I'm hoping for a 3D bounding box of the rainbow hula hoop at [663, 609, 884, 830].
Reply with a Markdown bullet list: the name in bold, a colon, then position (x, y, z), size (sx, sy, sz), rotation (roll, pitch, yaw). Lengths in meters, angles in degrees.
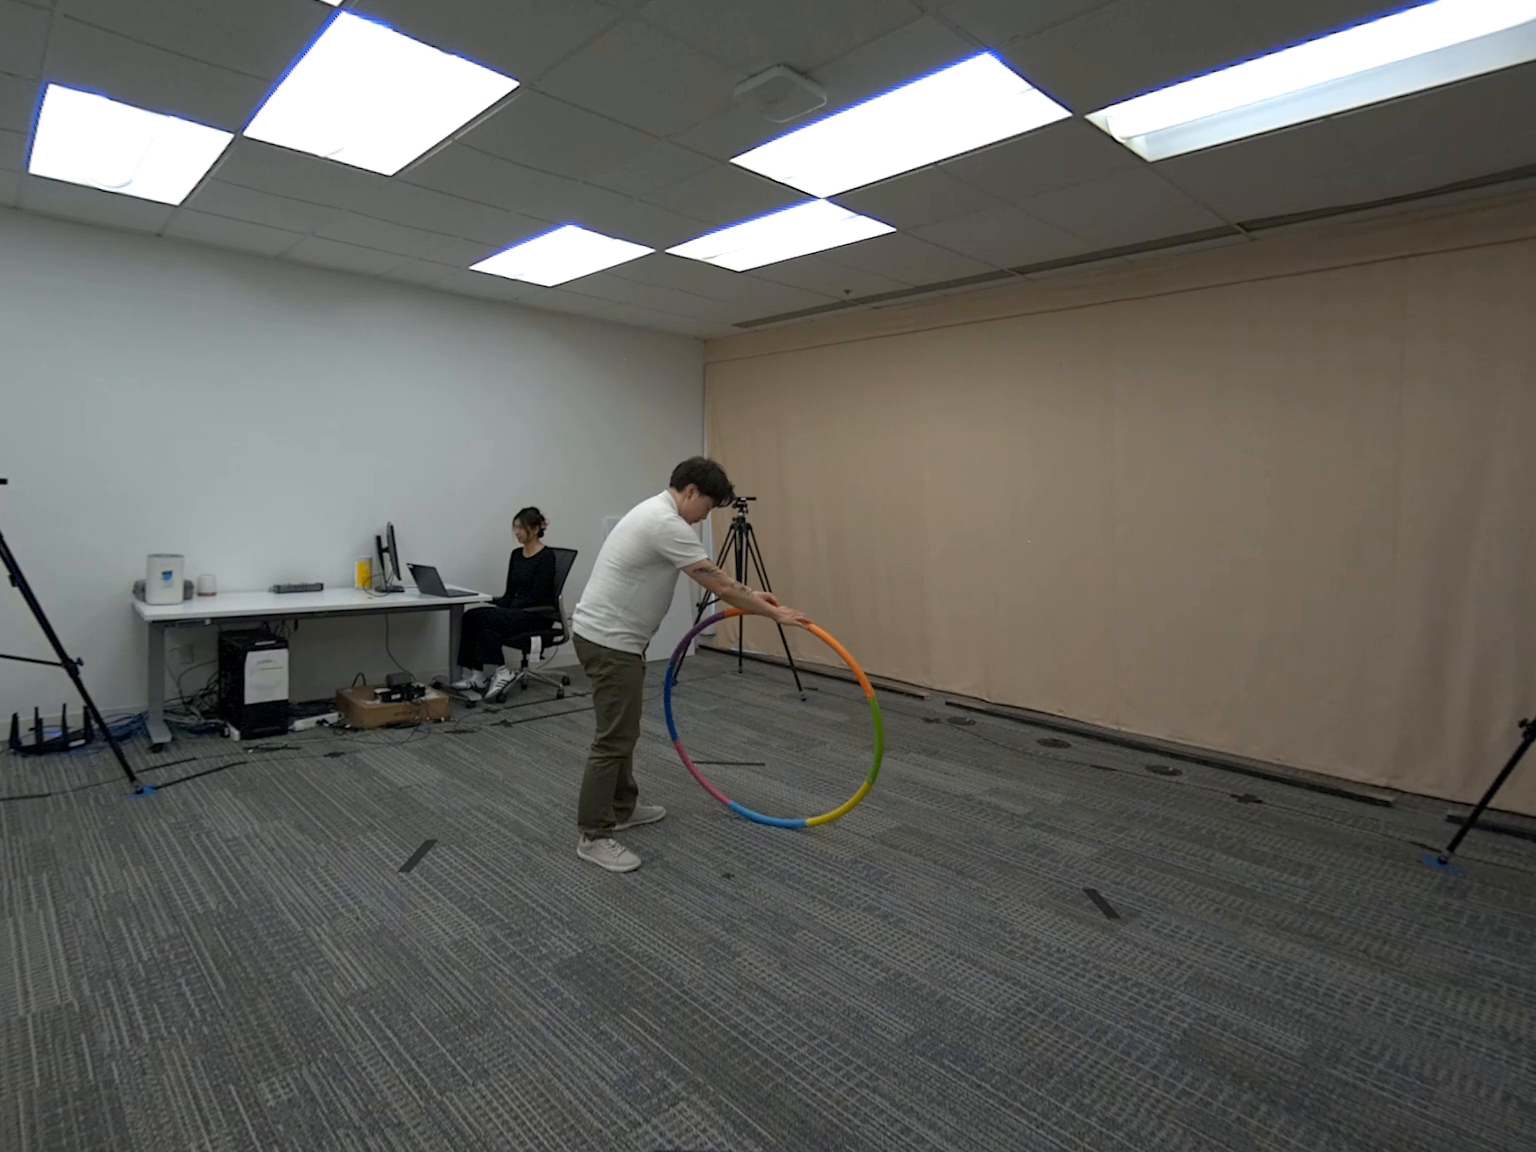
- **rainbow hula hoop**: position (-0.009, 0.599, 3.503), size (0.998, 0.968, 0.035), rotation (4, 15, 26)
